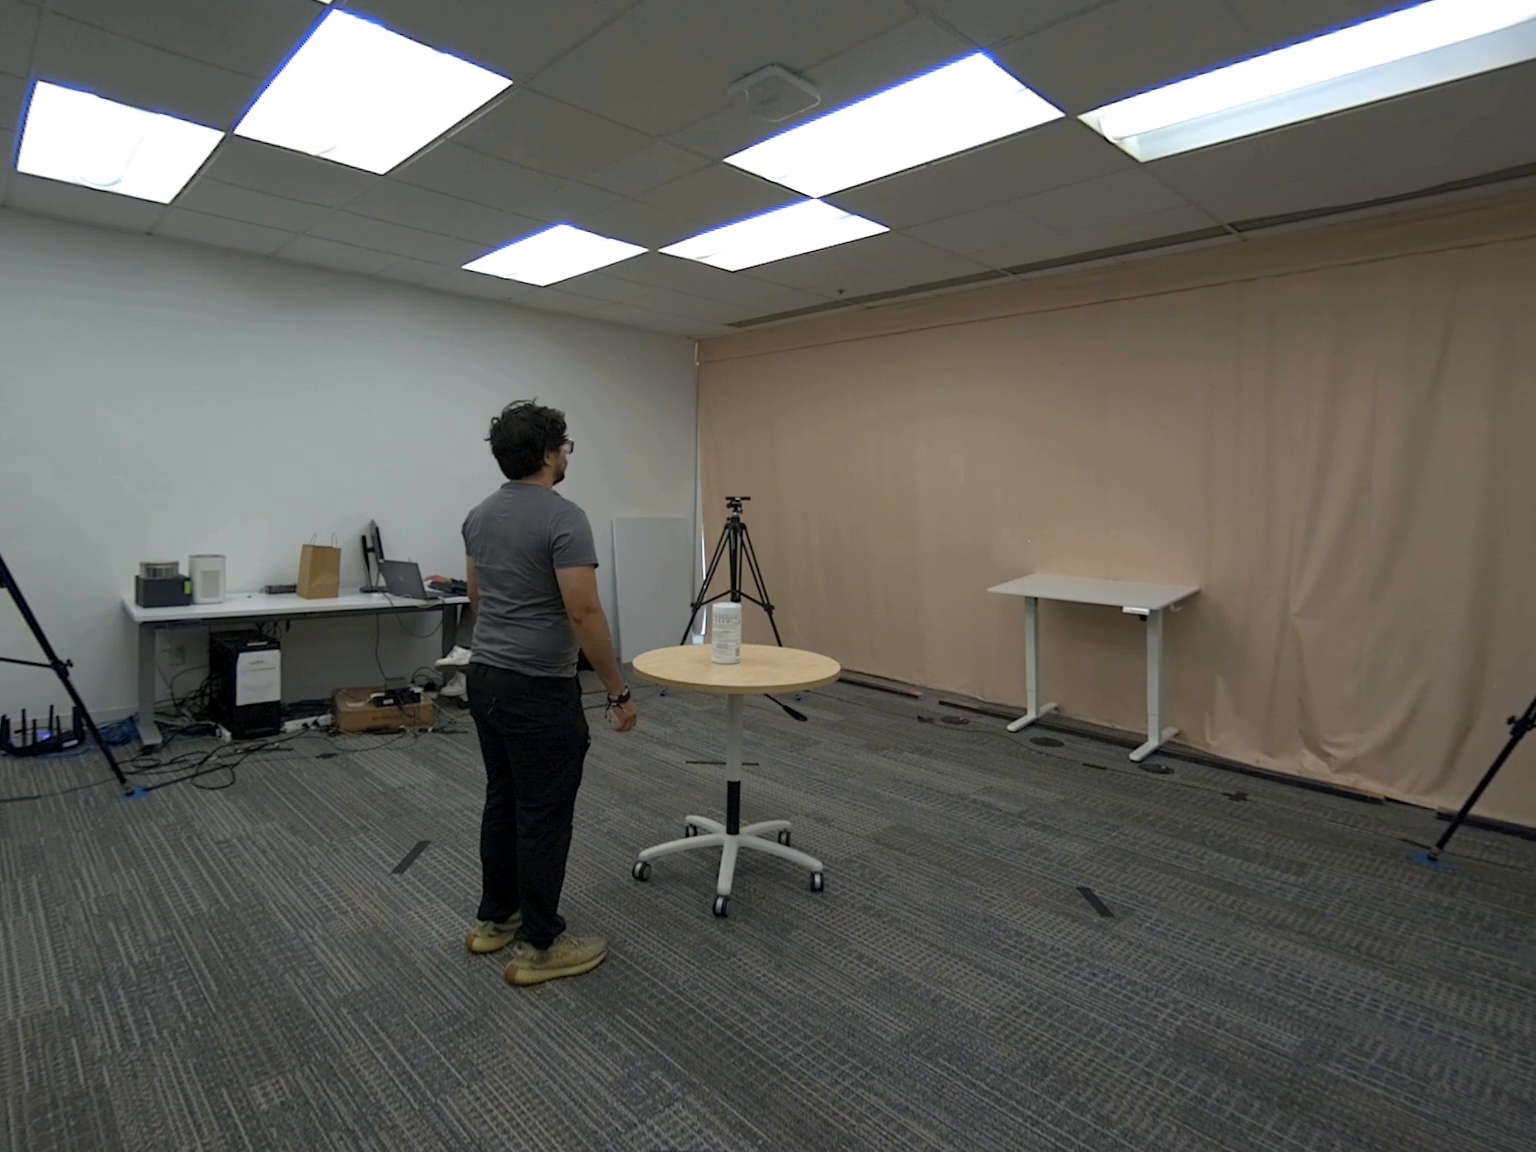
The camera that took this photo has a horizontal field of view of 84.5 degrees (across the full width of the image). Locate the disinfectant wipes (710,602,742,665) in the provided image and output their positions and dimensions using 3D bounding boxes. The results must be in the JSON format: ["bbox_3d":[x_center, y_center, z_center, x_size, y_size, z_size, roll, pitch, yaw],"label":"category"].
[{"bbox_3d":[-0.156,0.210,3.111,0.118,0.217,0.118,1,5,-1],"label":"disinfectant wipes"}]
